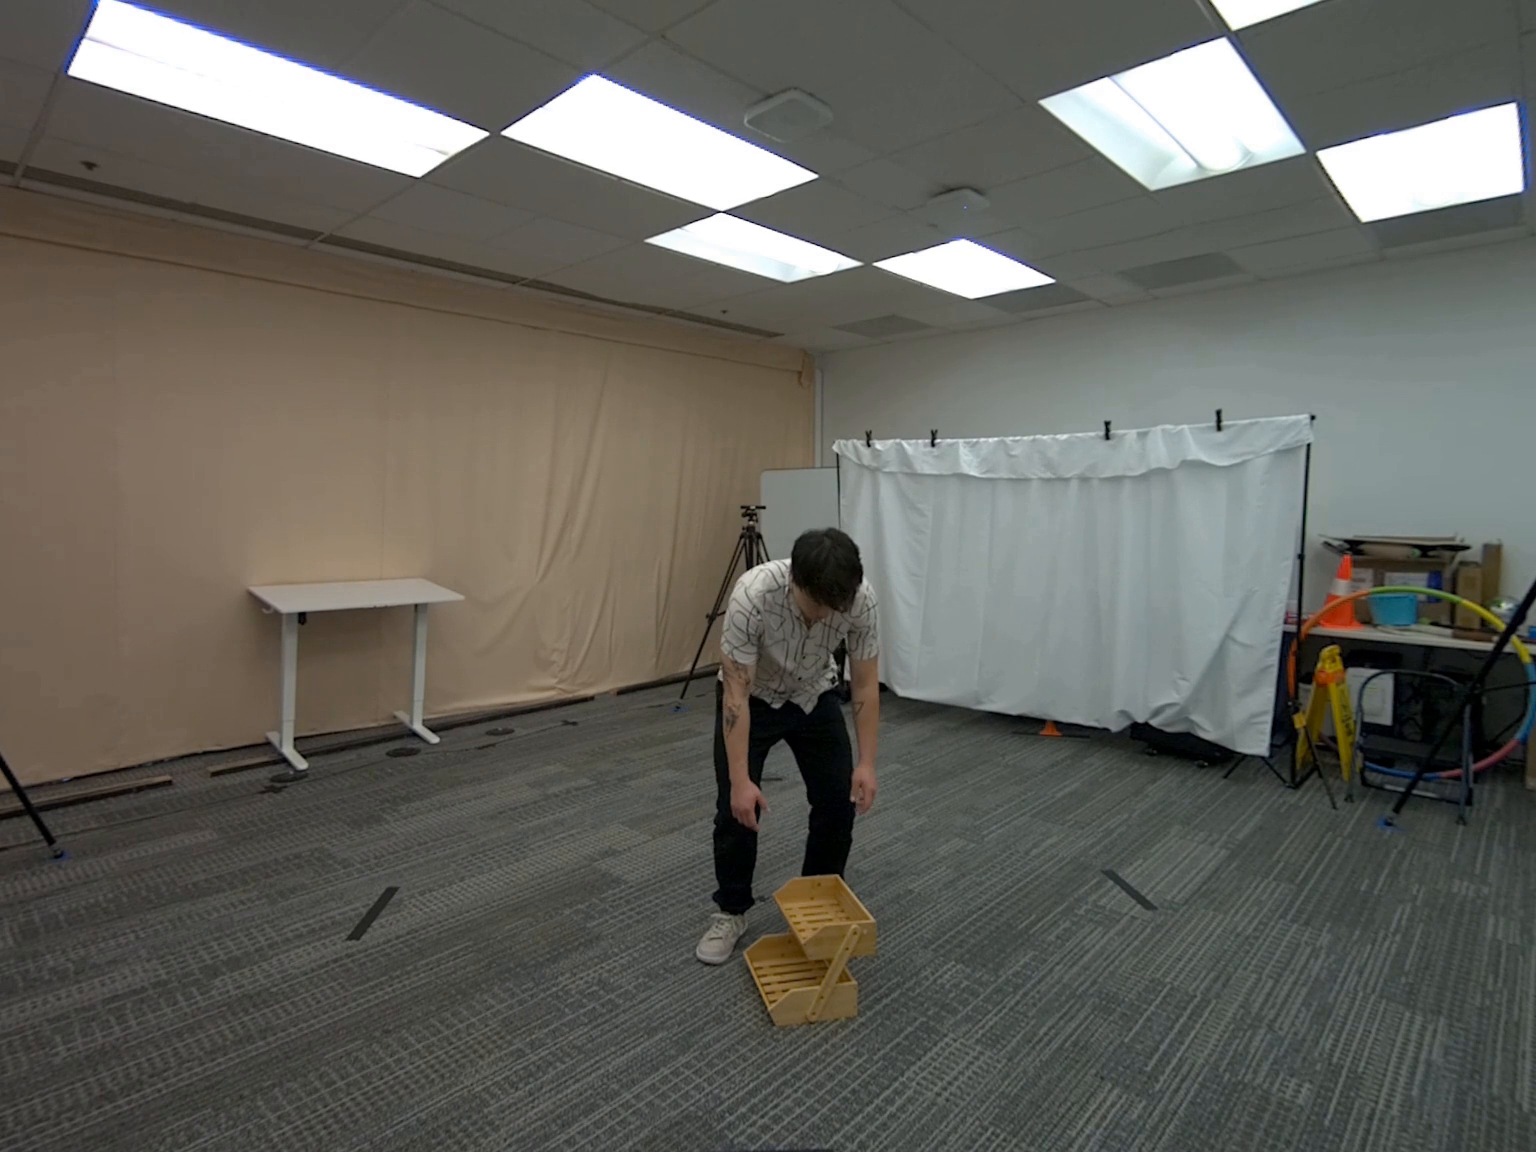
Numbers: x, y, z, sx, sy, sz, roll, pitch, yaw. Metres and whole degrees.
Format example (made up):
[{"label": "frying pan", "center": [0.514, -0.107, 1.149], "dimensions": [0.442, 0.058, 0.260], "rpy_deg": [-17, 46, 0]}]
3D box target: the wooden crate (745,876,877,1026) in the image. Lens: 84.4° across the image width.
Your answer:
[{"label": "wooden crate", "center": [0.108, 1.059, 2.407], "dimensions": [0.298, 0.273, 0.330], "rpy_deg": [0, 4, -14]}]
